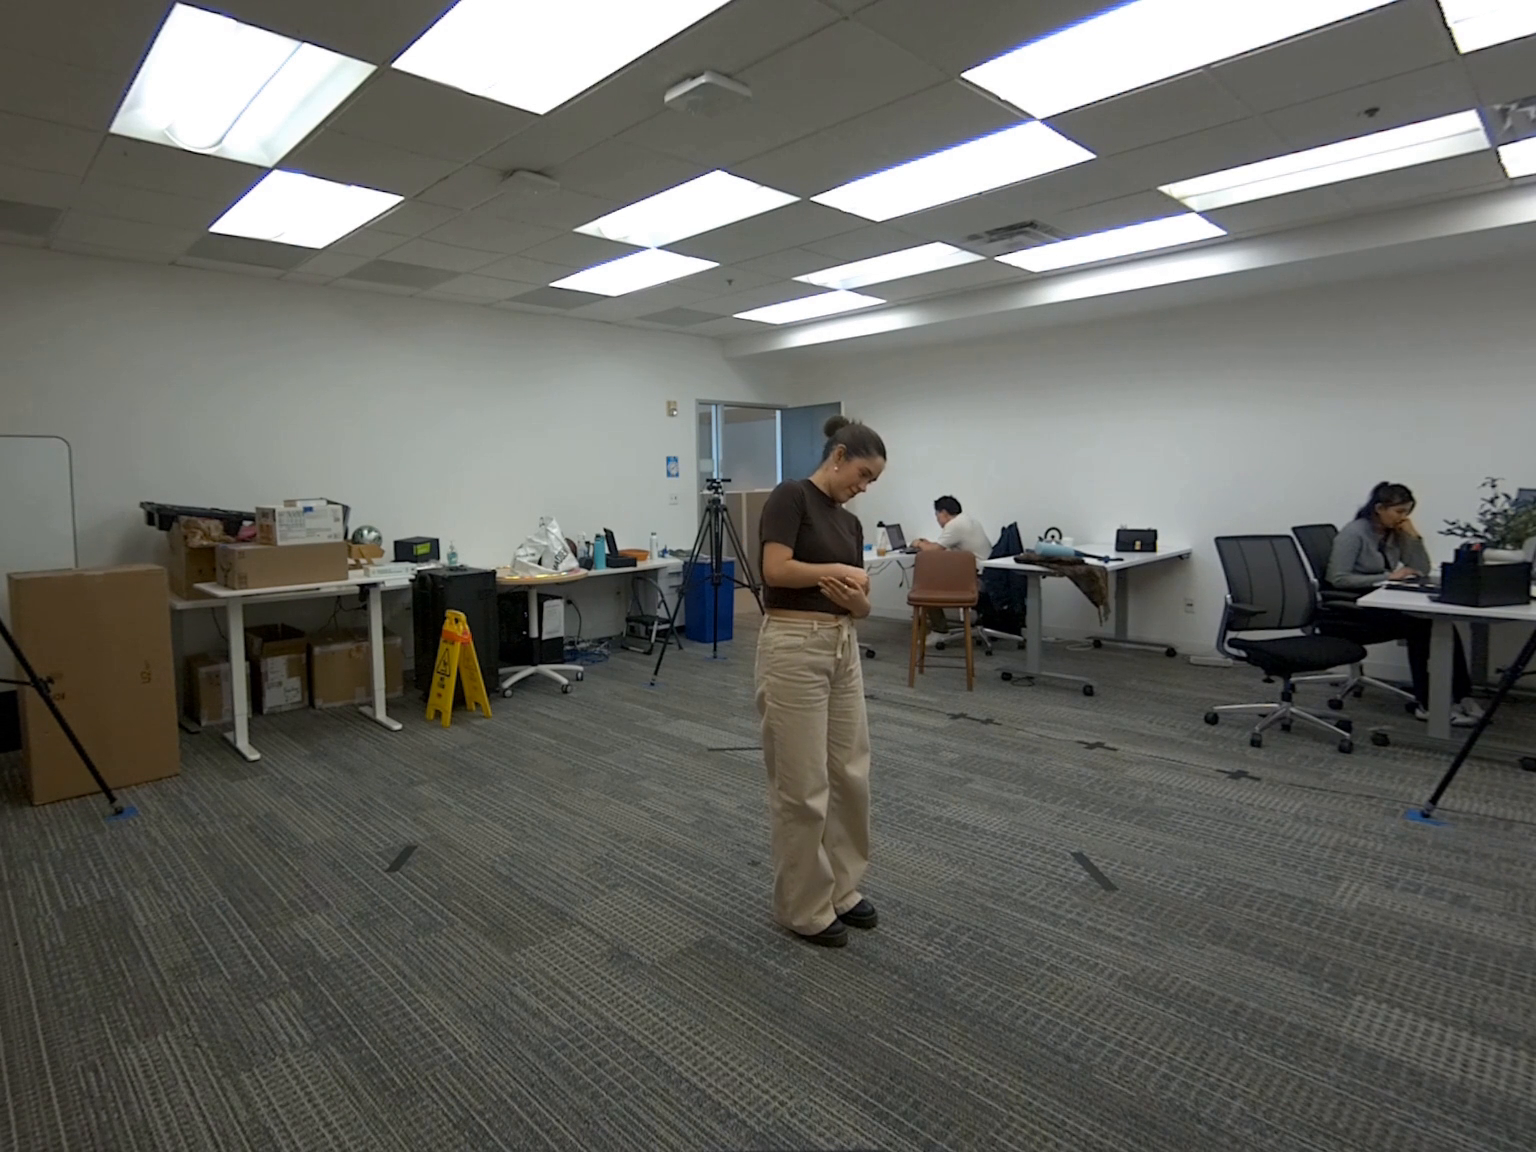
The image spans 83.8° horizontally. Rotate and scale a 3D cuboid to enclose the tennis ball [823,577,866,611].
[{"bbox_3d":[0.230,0.042,2.586,0.066,0.066,0.067,-1,5,-2],"label":"tennis ball"}]
